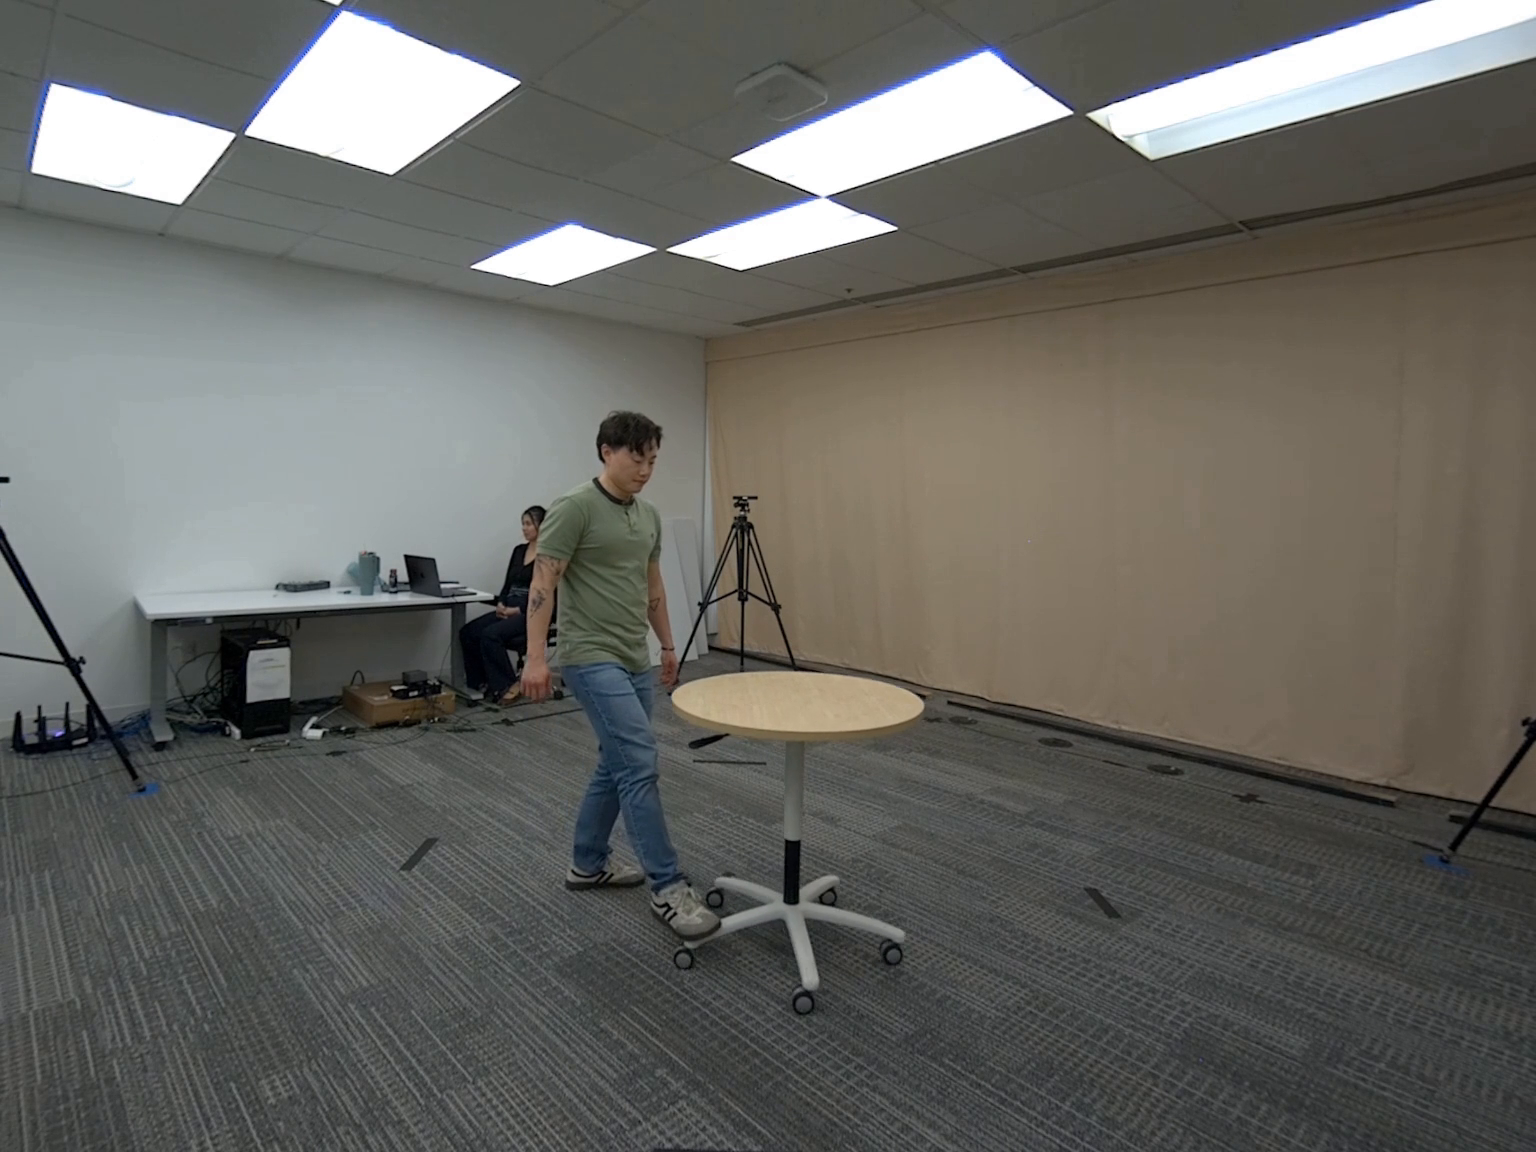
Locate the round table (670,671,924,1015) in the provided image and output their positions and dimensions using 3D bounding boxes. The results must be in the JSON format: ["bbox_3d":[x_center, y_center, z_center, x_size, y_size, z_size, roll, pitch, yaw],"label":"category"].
[{"bbox_3d":[0.077,0.766,2.596,0.763,0.791,0.767,1,4,-1],"label":"round table"}]
